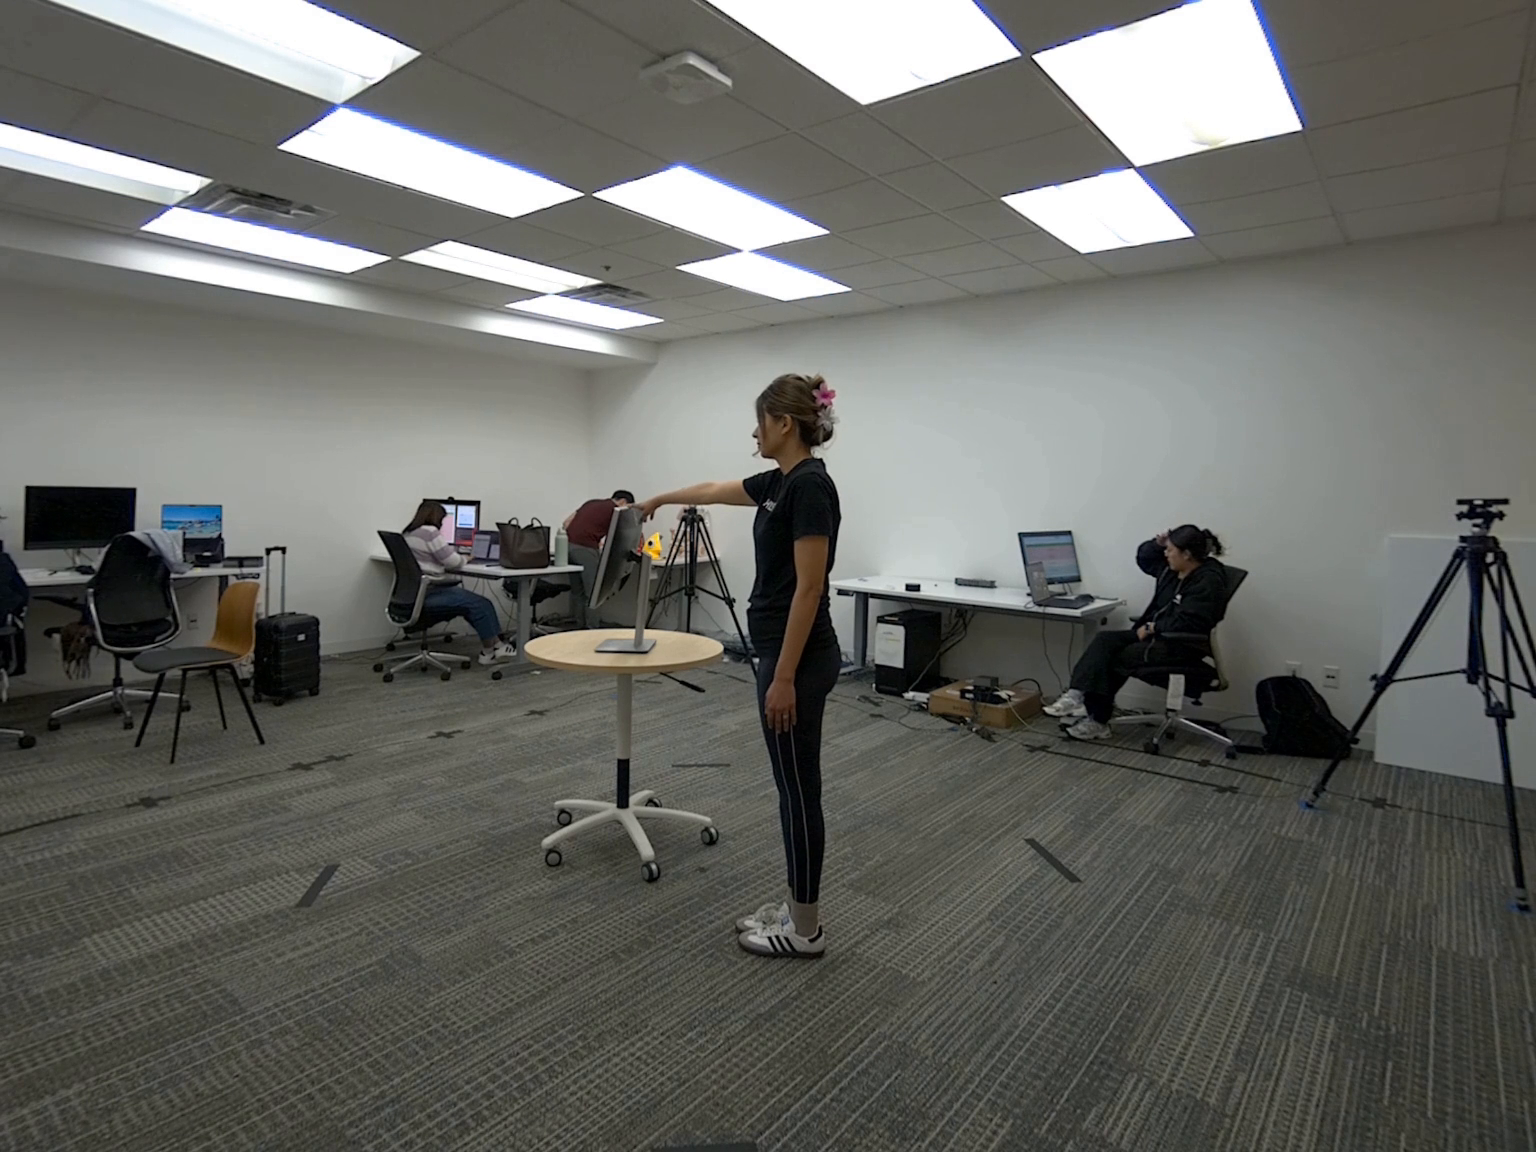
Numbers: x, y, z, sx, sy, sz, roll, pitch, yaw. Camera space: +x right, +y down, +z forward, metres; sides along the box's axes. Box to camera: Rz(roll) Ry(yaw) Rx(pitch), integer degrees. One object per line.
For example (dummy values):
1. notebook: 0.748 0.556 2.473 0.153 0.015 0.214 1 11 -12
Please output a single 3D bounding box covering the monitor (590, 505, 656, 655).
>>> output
1. monitor: -0.544 0.009 3.247 0.187 0.520 0.541 1 5 -1
